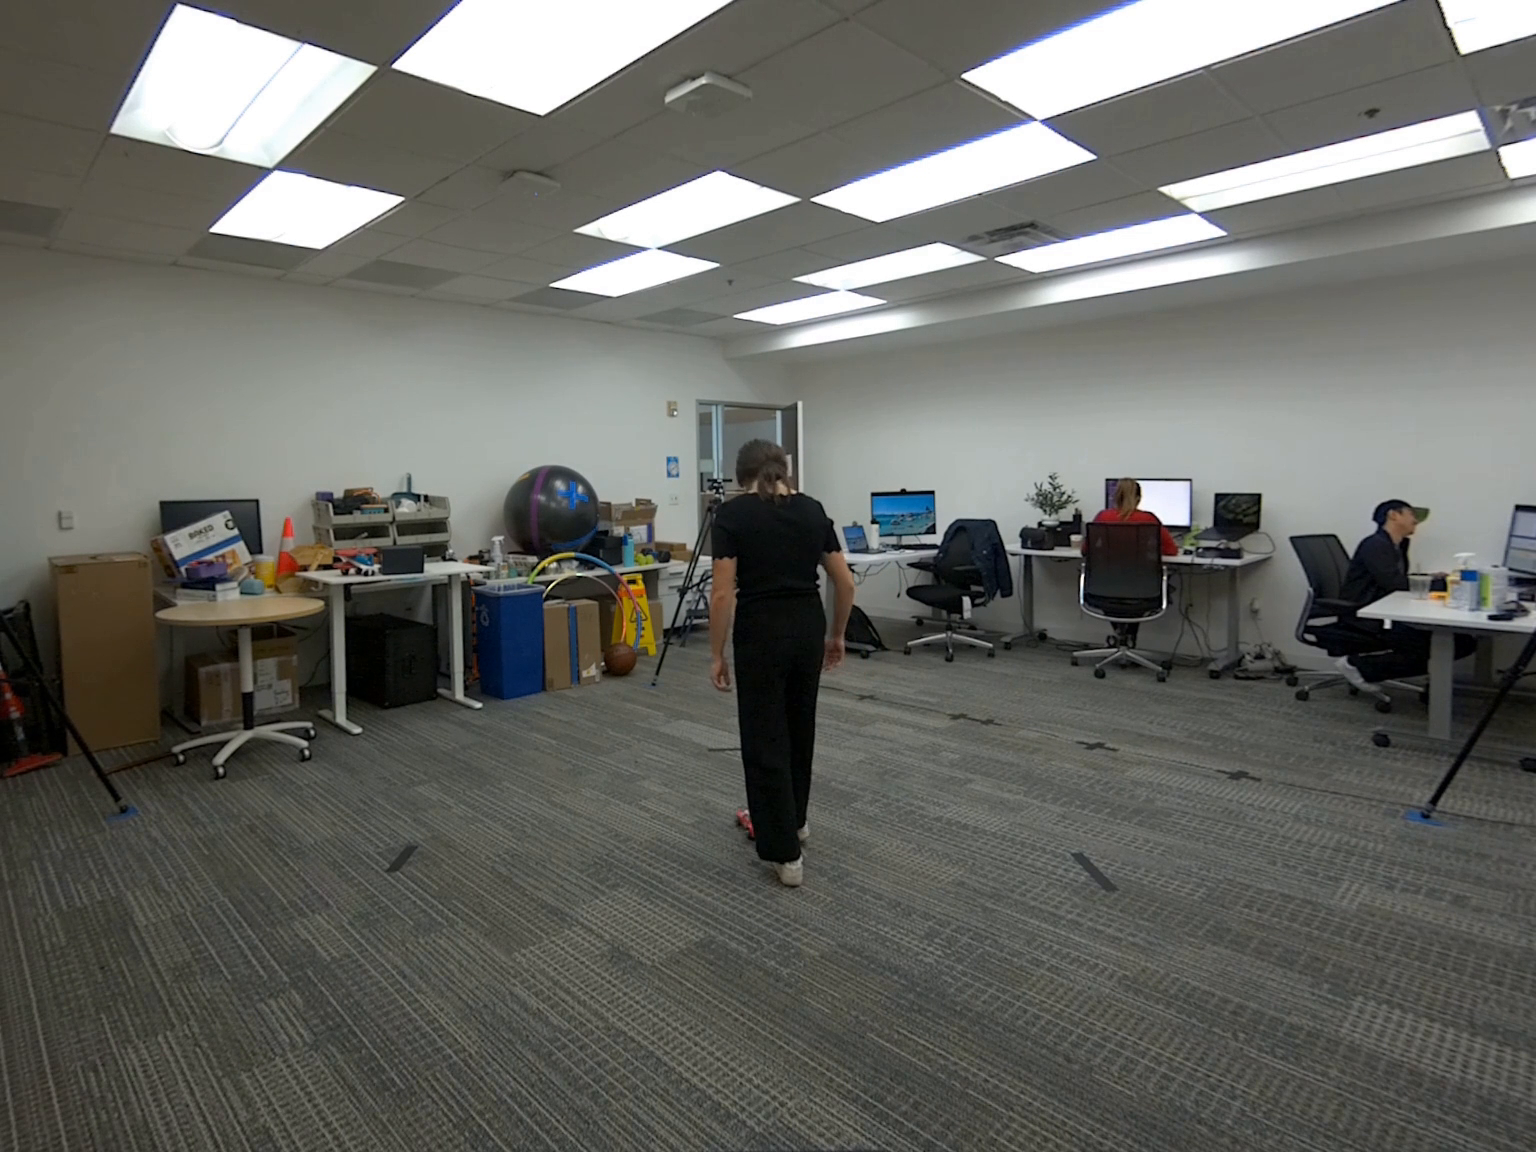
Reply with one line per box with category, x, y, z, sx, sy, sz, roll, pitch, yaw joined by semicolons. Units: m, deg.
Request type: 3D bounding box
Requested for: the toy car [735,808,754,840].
toy car;-0.031;0.986;3.369;0.128;0.084;0.256;-1;-5;-15
